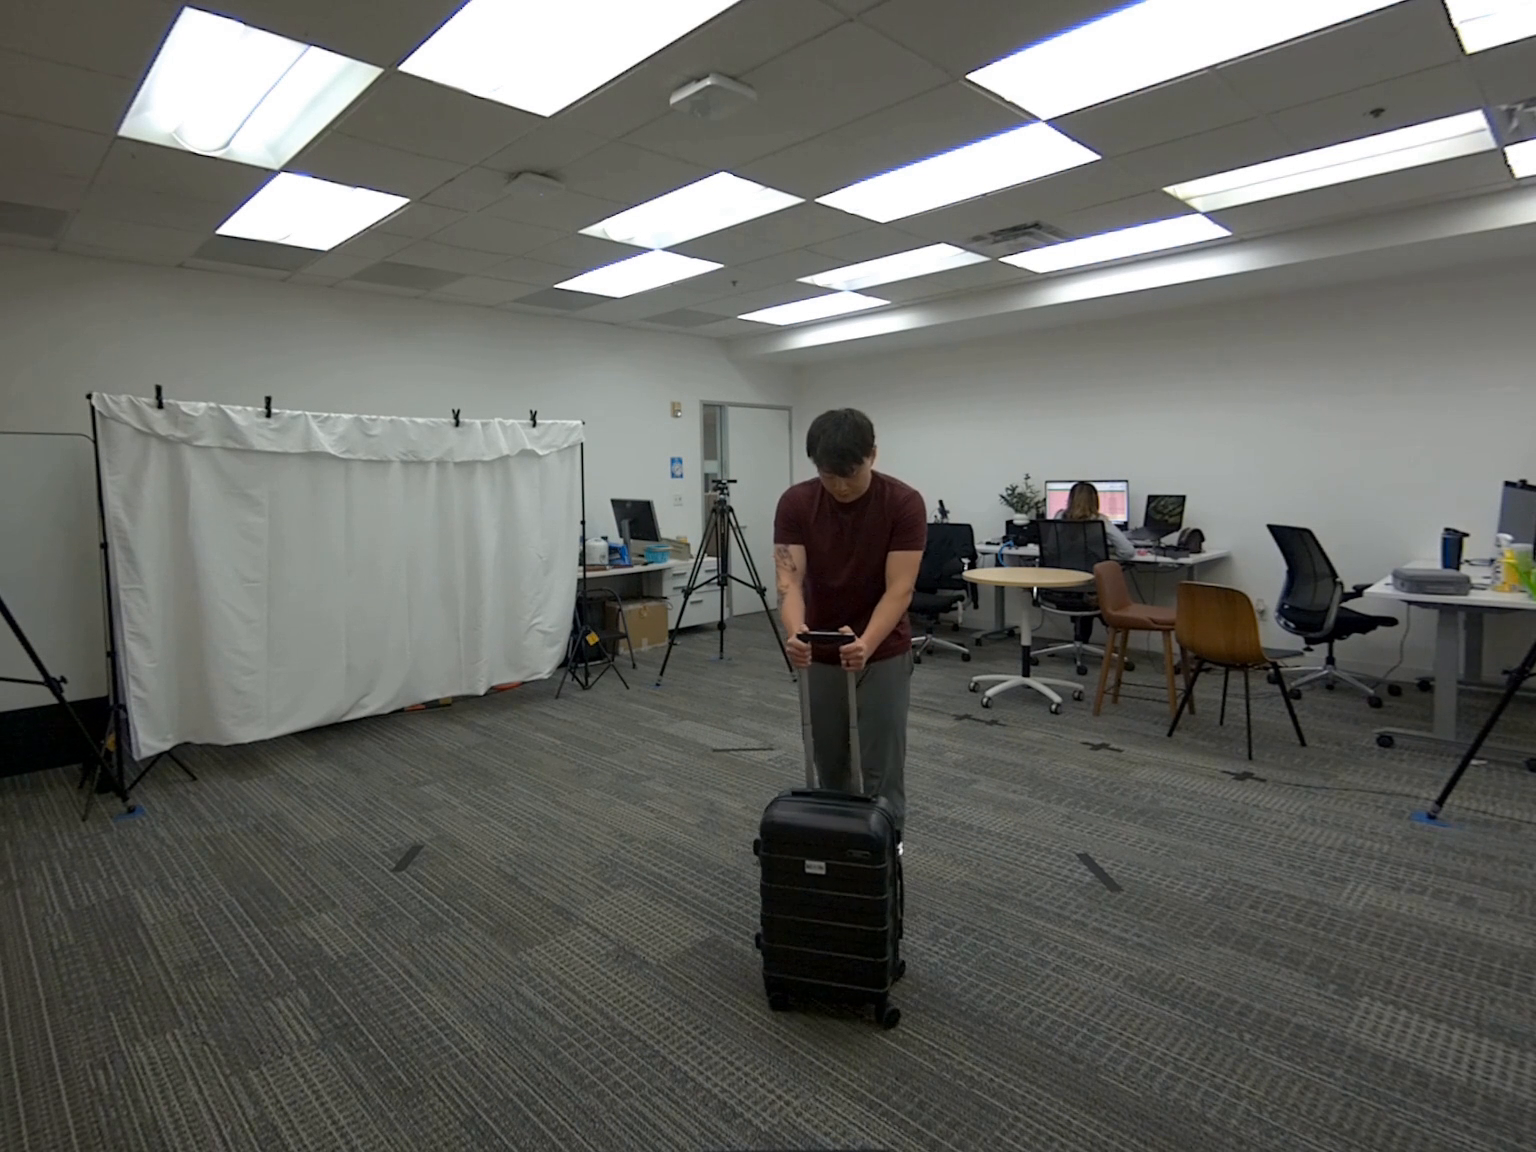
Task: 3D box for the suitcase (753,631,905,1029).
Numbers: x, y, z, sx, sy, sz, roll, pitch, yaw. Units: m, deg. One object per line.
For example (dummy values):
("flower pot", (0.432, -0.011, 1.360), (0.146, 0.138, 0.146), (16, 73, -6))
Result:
("suitcase", (0.162, 0.665, 2.276), (0.390, 0.973, 0.254), (-2, 6, 17))
